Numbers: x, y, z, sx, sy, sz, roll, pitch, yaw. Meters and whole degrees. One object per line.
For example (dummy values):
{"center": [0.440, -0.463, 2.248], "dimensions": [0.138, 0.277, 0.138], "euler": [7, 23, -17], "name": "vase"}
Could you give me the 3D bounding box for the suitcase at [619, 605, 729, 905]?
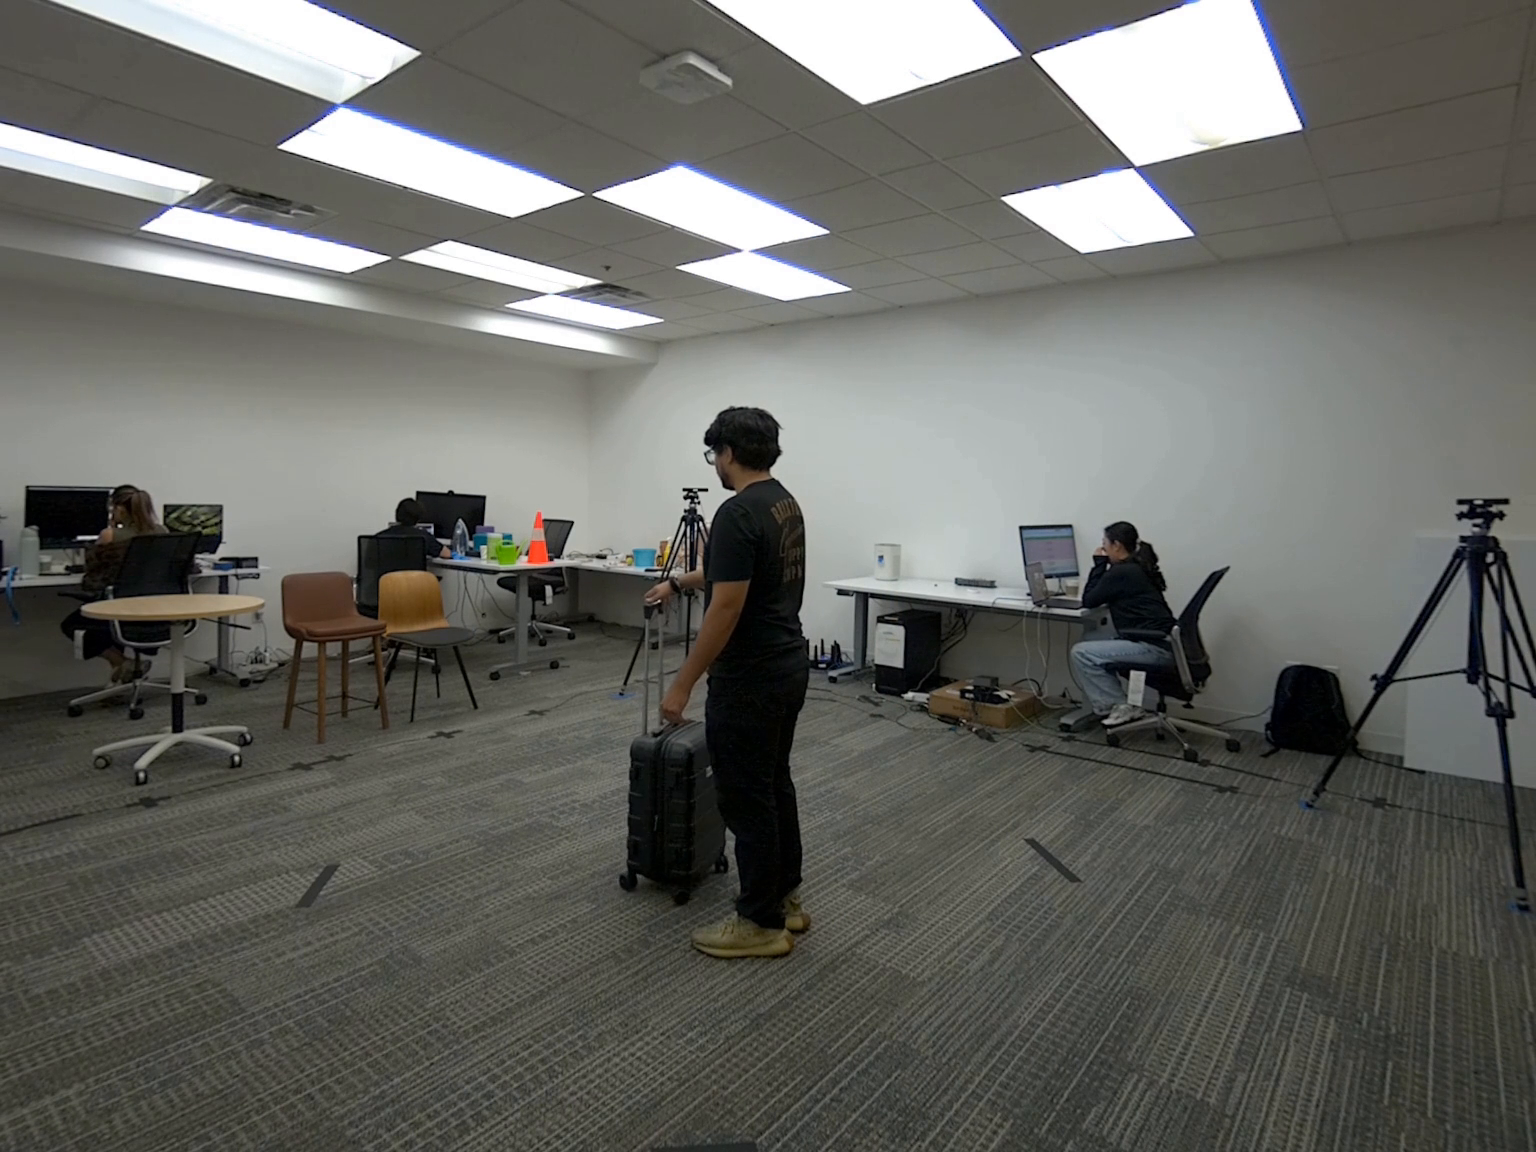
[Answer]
{"center": [-0.319, 0.599, 3.012], "dimensions": [0.263, 0.977, 0.376], "euler": [3, 2, 20], "name": "suitcase"}
